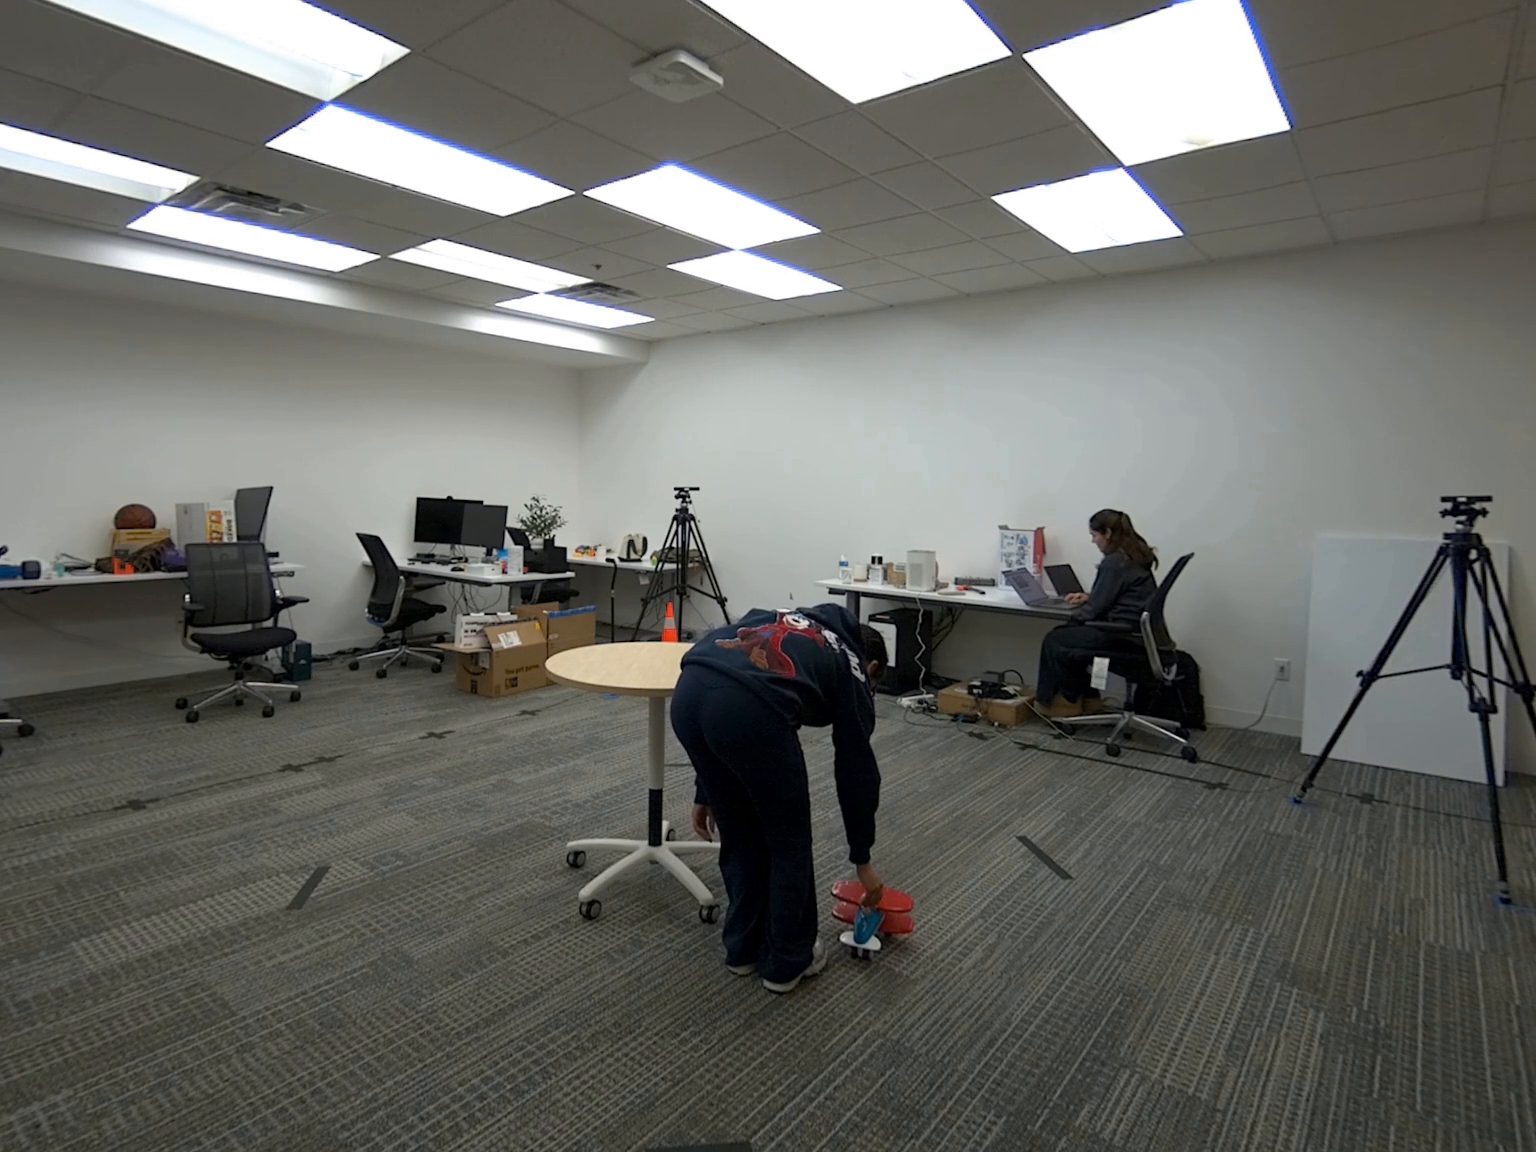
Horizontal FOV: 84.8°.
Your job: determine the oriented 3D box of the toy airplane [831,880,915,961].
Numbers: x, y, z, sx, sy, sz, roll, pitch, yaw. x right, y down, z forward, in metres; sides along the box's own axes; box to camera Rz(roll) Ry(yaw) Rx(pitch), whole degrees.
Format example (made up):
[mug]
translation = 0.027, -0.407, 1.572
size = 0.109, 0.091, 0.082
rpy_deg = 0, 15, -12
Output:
[toy airplane]
translation = 0.326, 1.053, 2.606
size = 0.250, 0.156, 0.261
rpy_deg = 0, 3, -6
